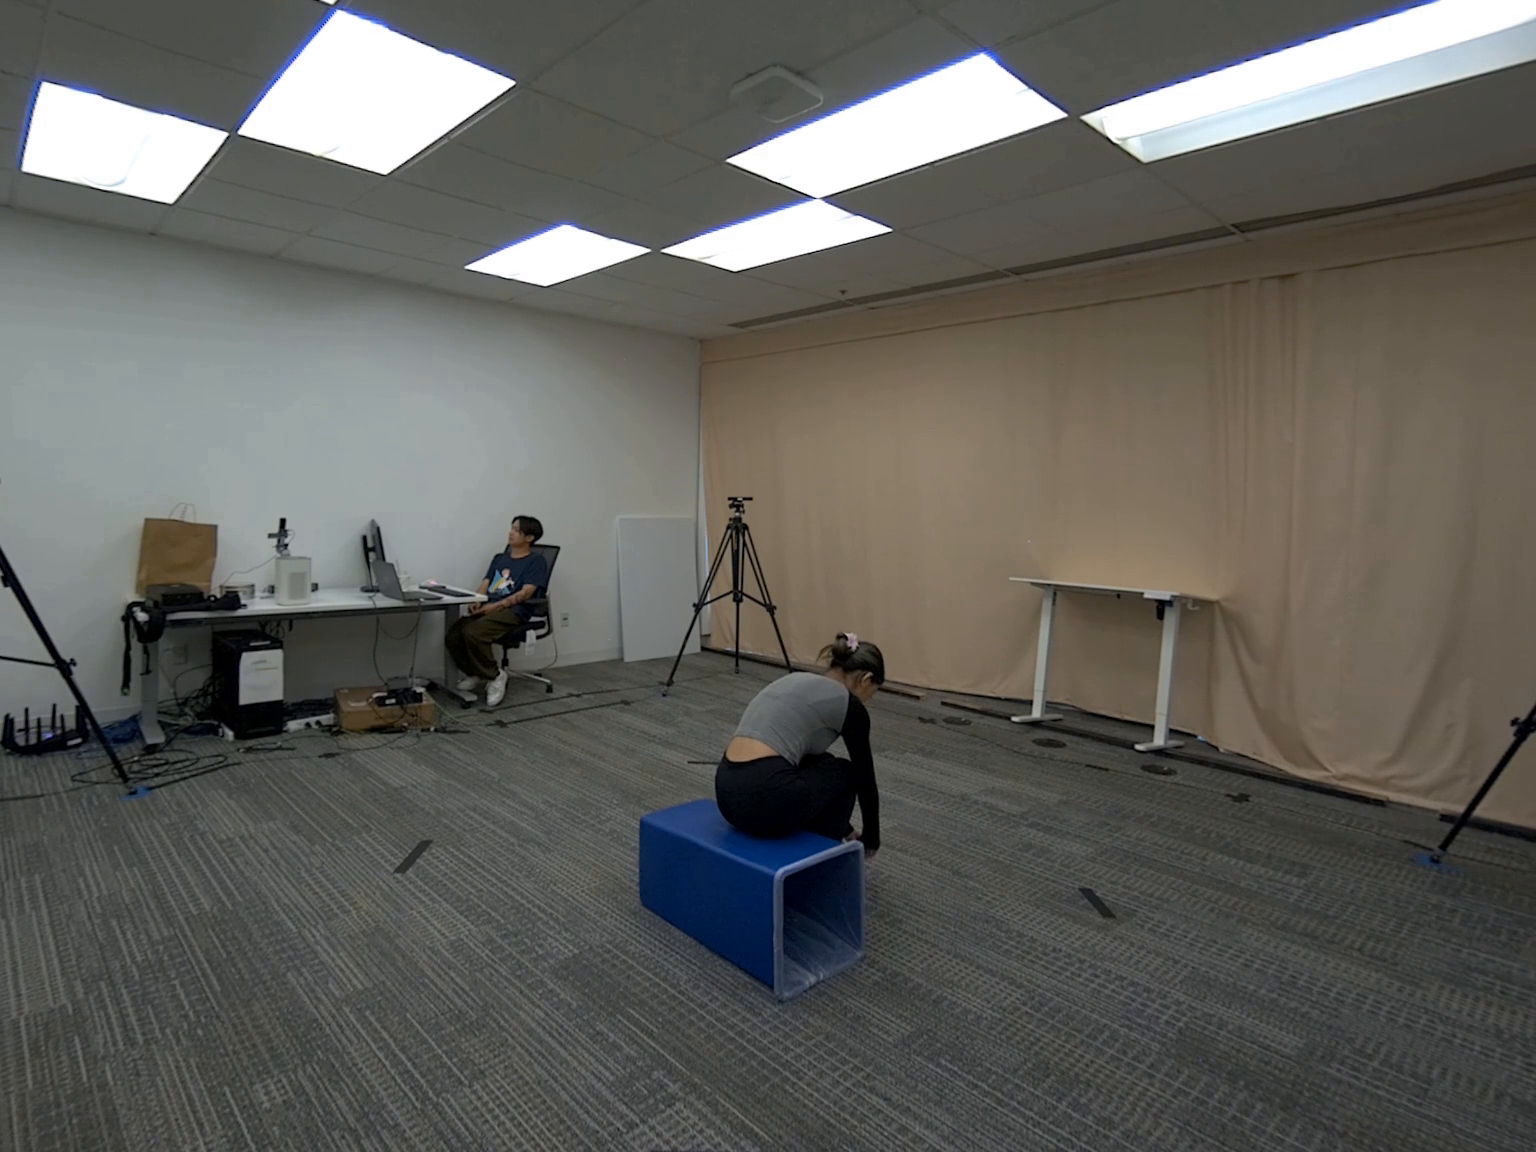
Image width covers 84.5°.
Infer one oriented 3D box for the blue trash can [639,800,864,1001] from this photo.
[{"bbox_3d":[-0.094,0.971,2.696,0.369,0.373,0.731,-3,5,-44],"label":"blue trash can"}]
